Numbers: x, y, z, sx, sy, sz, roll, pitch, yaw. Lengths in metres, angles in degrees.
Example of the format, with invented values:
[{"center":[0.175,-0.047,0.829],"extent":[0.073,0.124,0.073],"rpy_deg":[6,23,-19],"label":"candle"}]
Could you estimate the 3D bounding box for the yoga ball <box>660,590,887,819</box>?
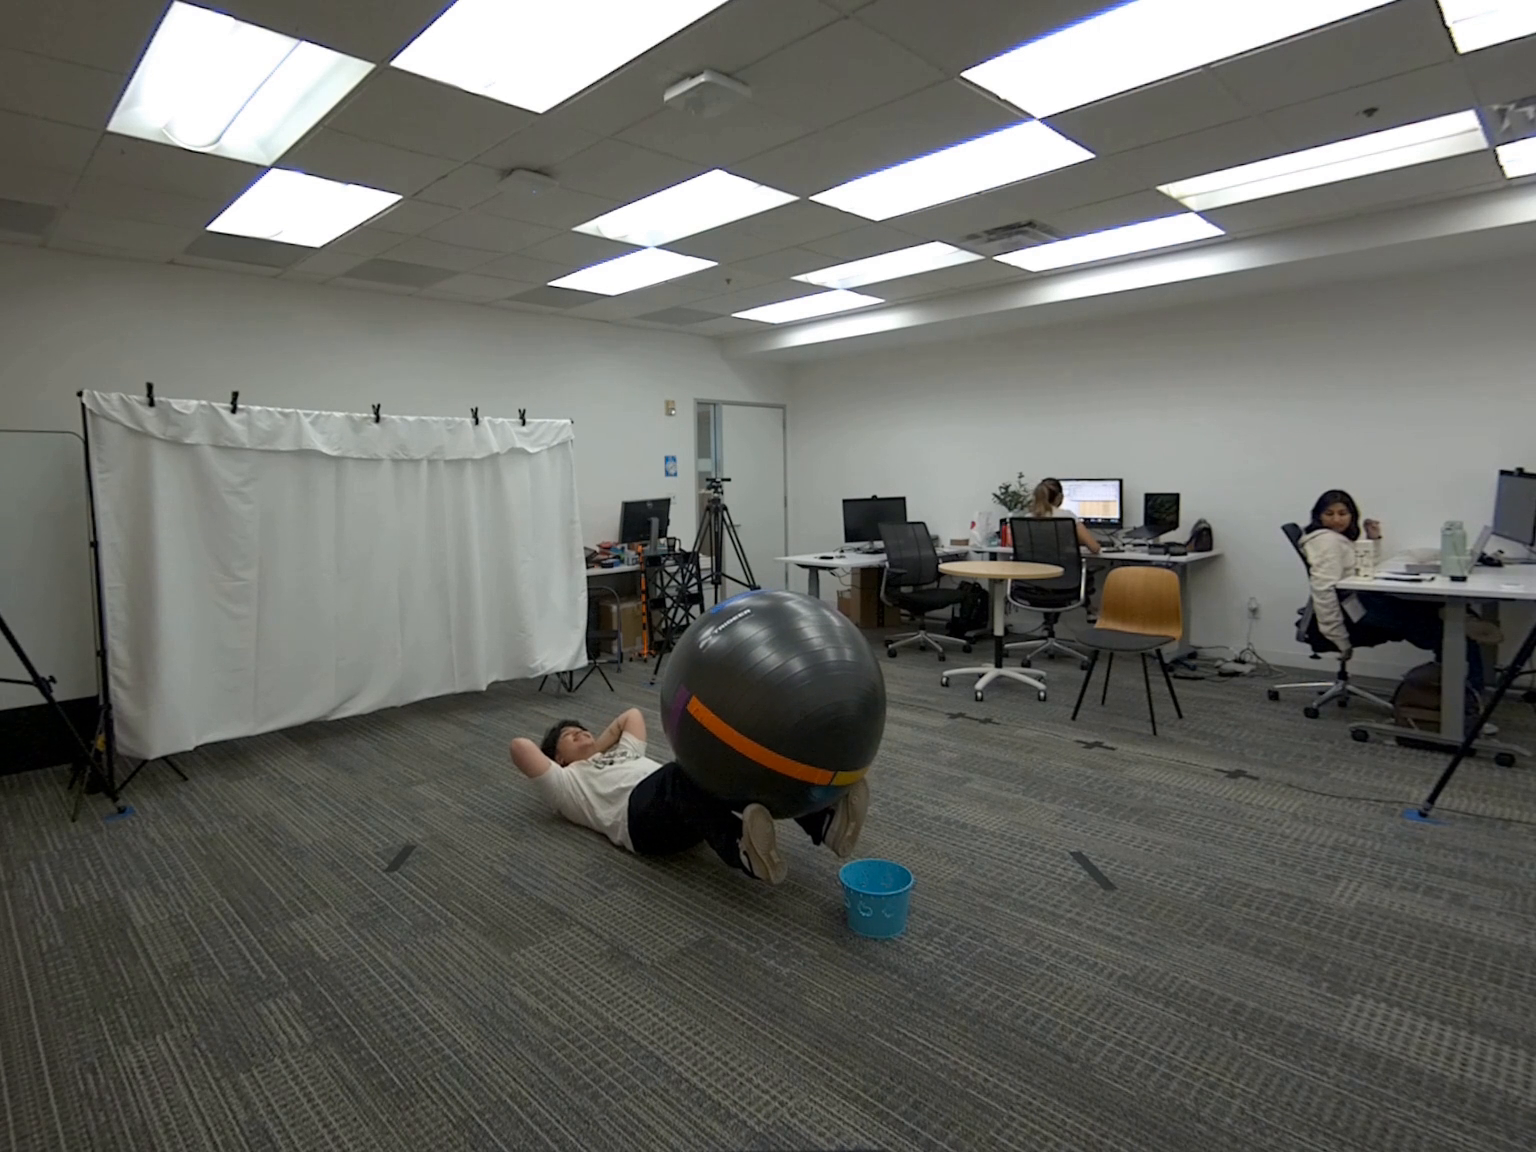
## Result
[{"center":[0.016,0.419,2.892],"extent":[0.757,0.755,0.762],"rpy_deg":[-1,5,-2],"label":"yoga ball"}]
